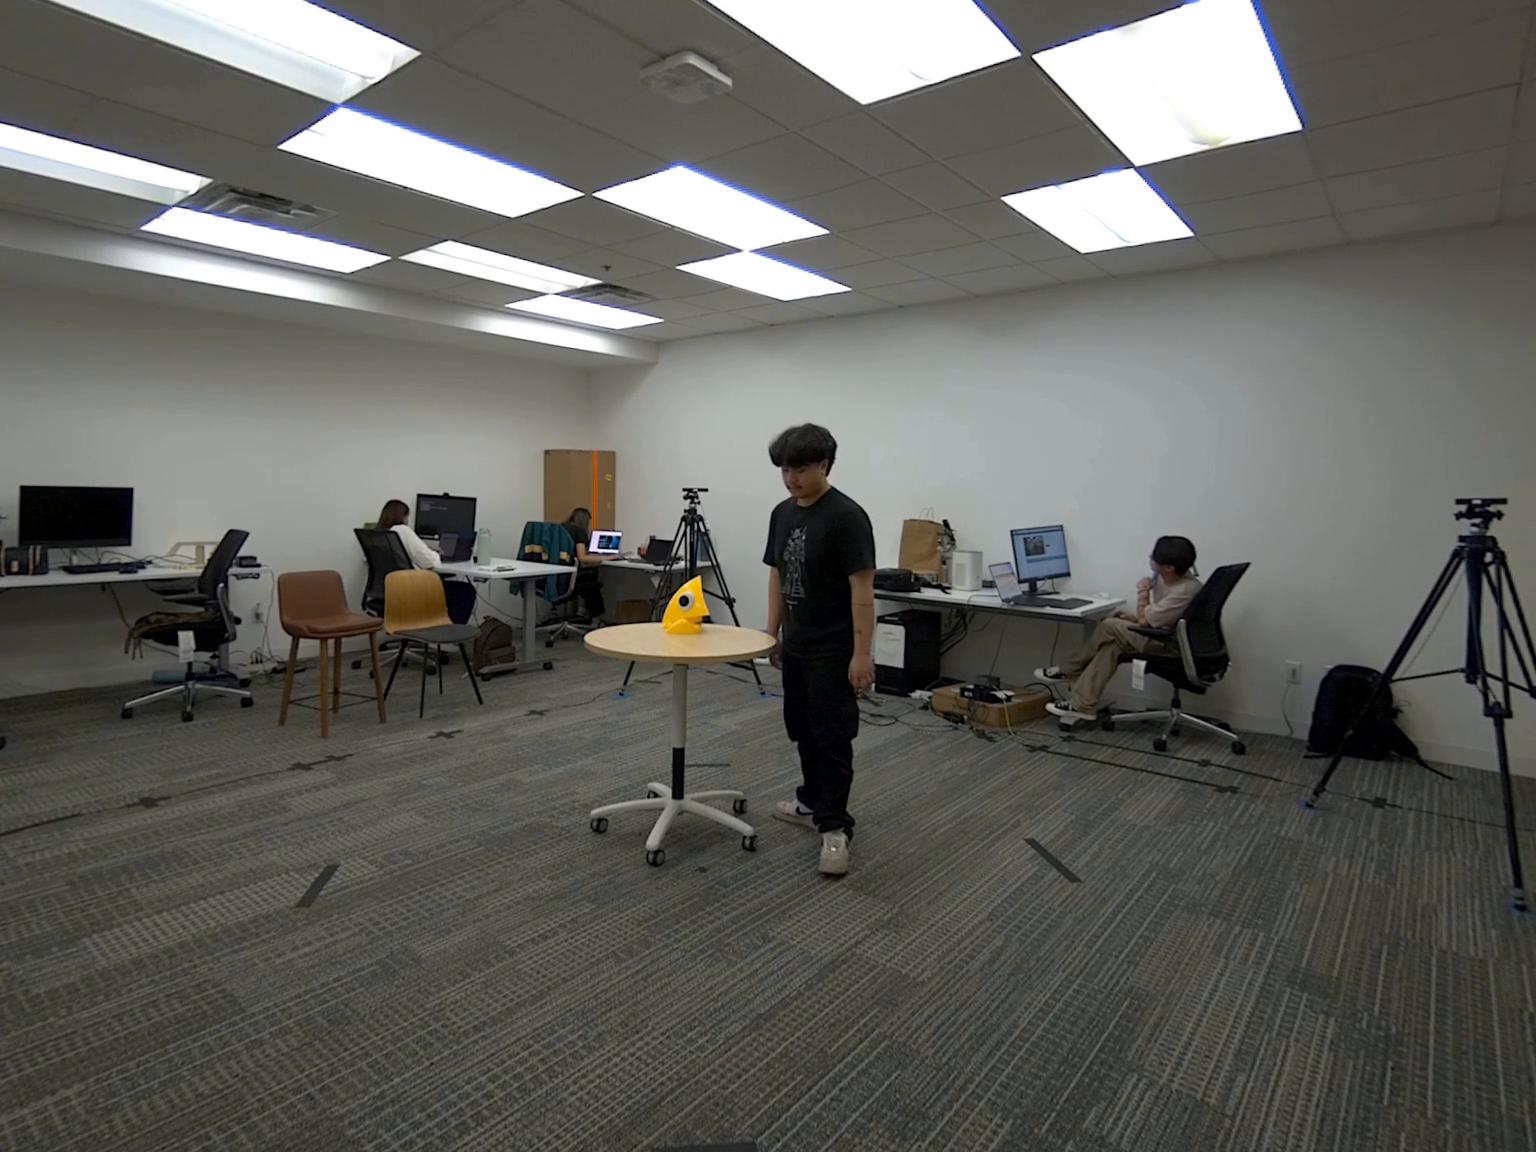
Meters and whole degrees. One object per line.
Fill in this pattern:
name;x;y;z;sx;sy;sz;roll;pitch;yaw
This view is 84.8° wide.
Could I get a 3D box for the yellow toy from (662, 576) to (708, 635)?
yellow toy;-0.361;0.109;3.605;0.191;0.230;0.207;0;5;-10
